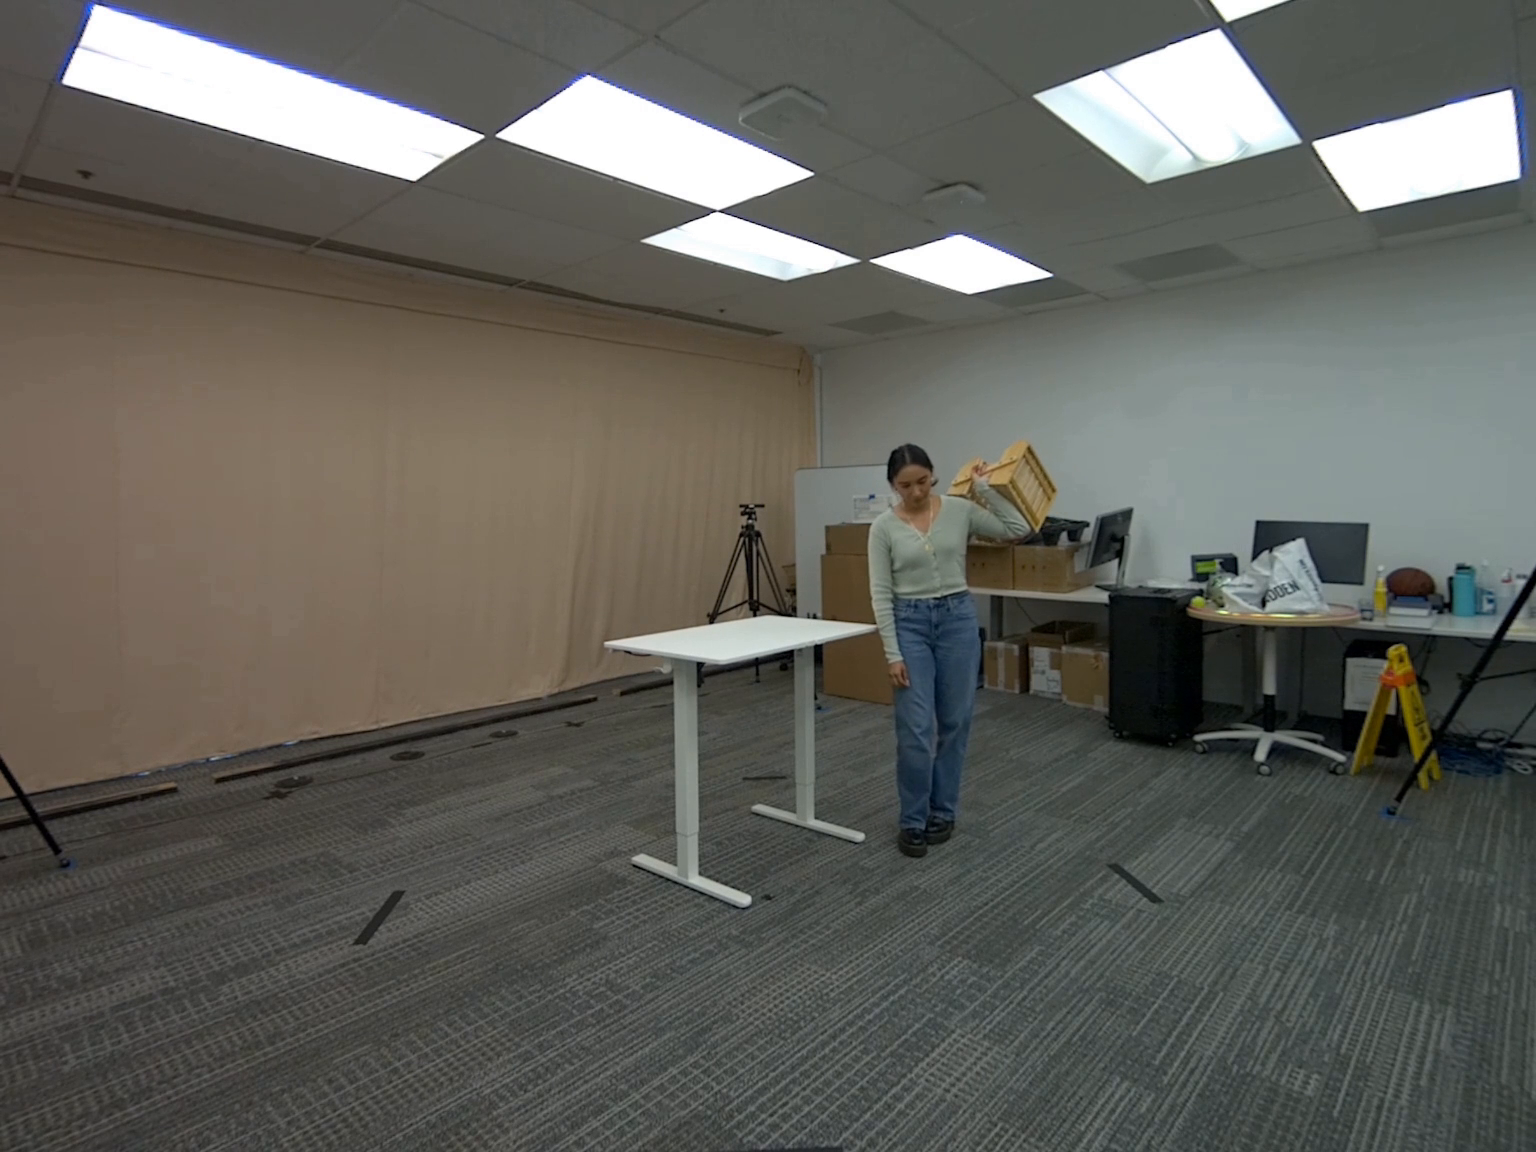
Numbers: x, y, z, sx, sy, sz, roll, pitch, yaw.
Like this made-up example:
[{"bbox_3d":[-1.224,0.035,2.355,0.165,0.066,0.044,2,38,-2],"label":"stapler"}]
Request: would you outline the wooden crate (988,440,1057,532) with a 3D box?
[{"bbox_3d":[0.989,-0.352,3.515,0.282,0.301,0.315,2,-38,51],"label":"wooden crate"}]
